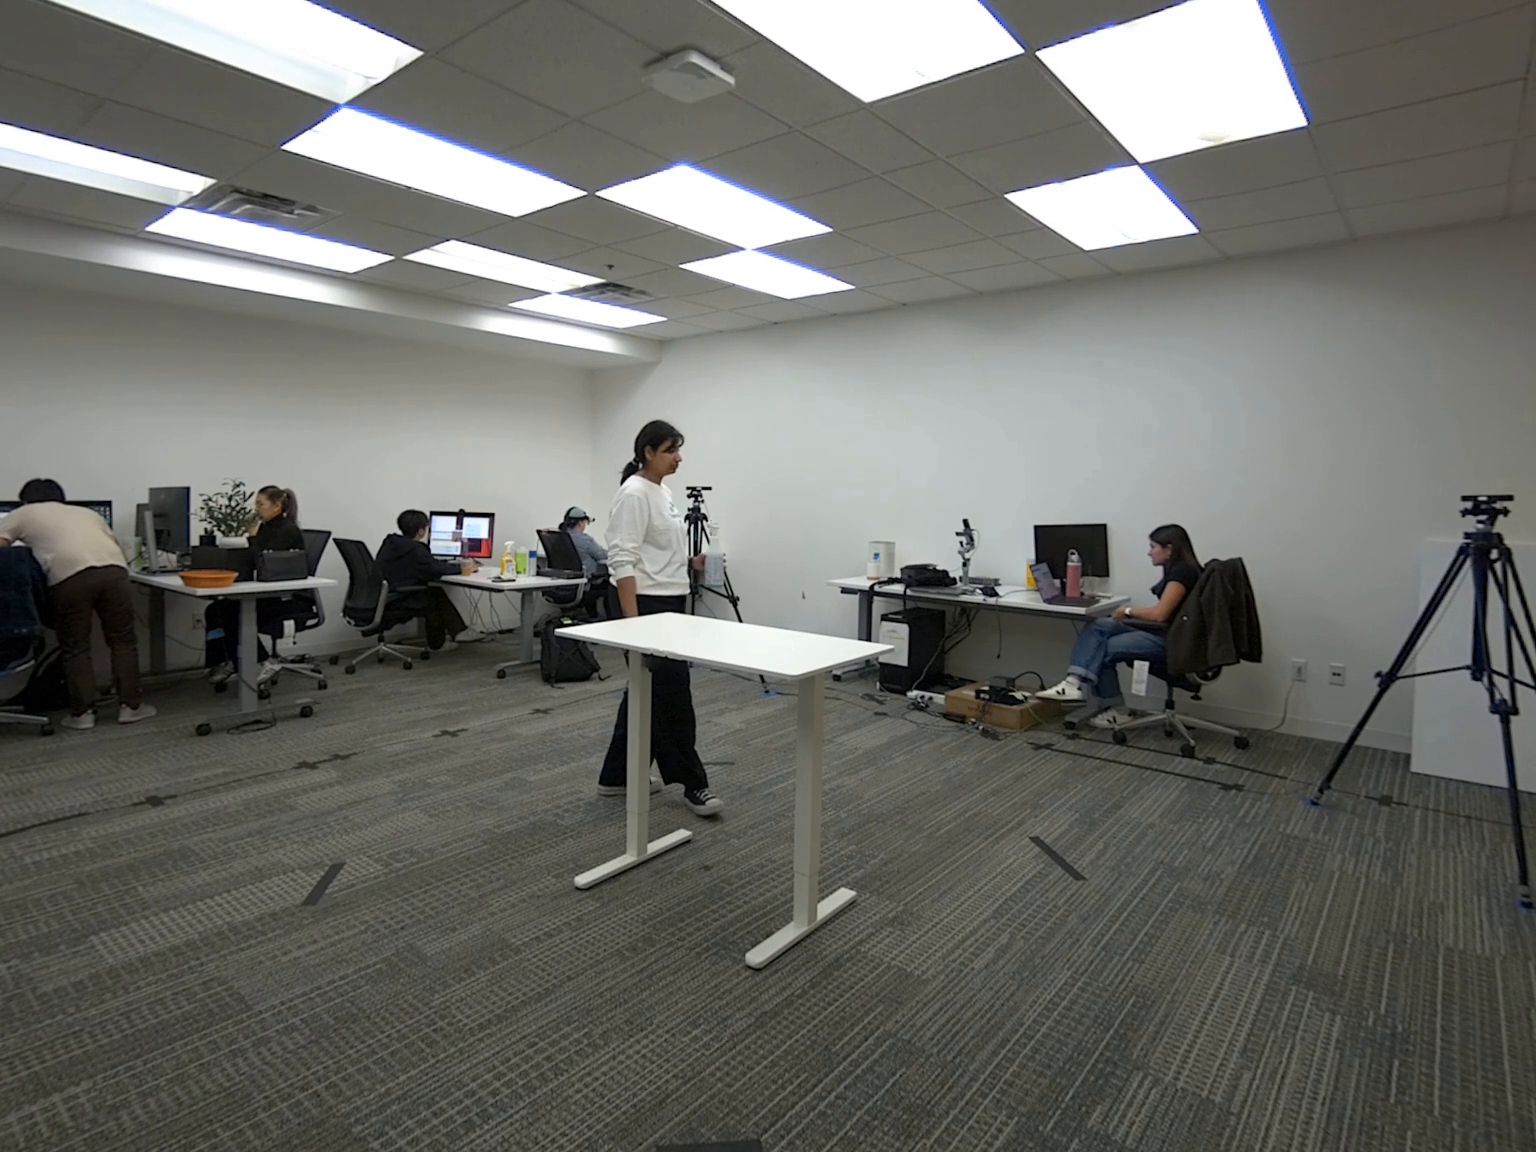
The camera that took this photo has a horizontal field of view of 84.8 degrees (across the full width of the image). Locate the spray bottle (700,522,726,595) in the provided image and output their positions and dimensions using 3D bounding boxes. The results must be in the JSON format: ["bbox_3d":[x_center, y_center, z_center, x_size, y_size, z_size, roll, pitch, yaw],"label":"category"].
[{"bbox_3d":[-0.253,-0.095,3.854,0.088,0.296,0.089,-5,5,-27],"label":"spray bottle"}]
